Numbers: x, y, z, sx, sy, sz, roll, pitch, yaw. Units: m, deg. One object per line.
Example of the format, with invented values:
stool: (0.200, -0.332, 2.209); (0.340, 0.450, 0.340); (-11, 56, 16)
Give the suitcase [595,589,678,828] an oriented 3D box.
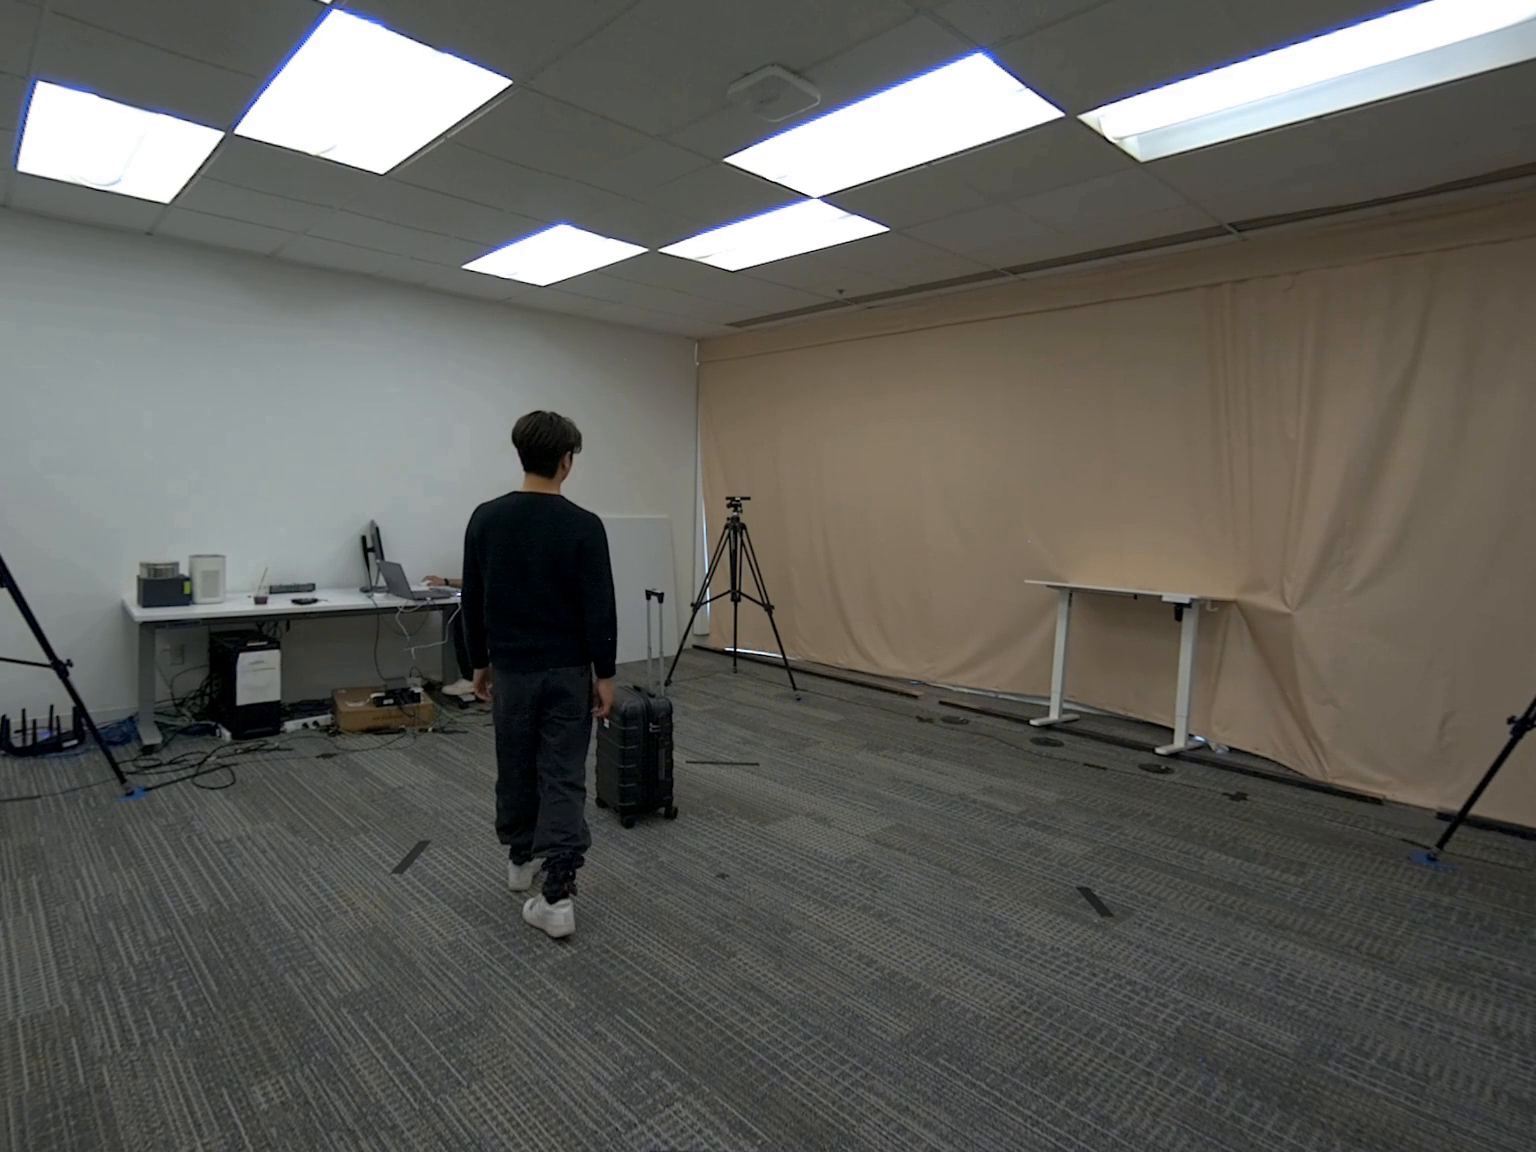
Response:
suitcase: (-0.596, 0.569, 3.686); (0.252, 0.975, 0.392); (-3, 5, -29)
